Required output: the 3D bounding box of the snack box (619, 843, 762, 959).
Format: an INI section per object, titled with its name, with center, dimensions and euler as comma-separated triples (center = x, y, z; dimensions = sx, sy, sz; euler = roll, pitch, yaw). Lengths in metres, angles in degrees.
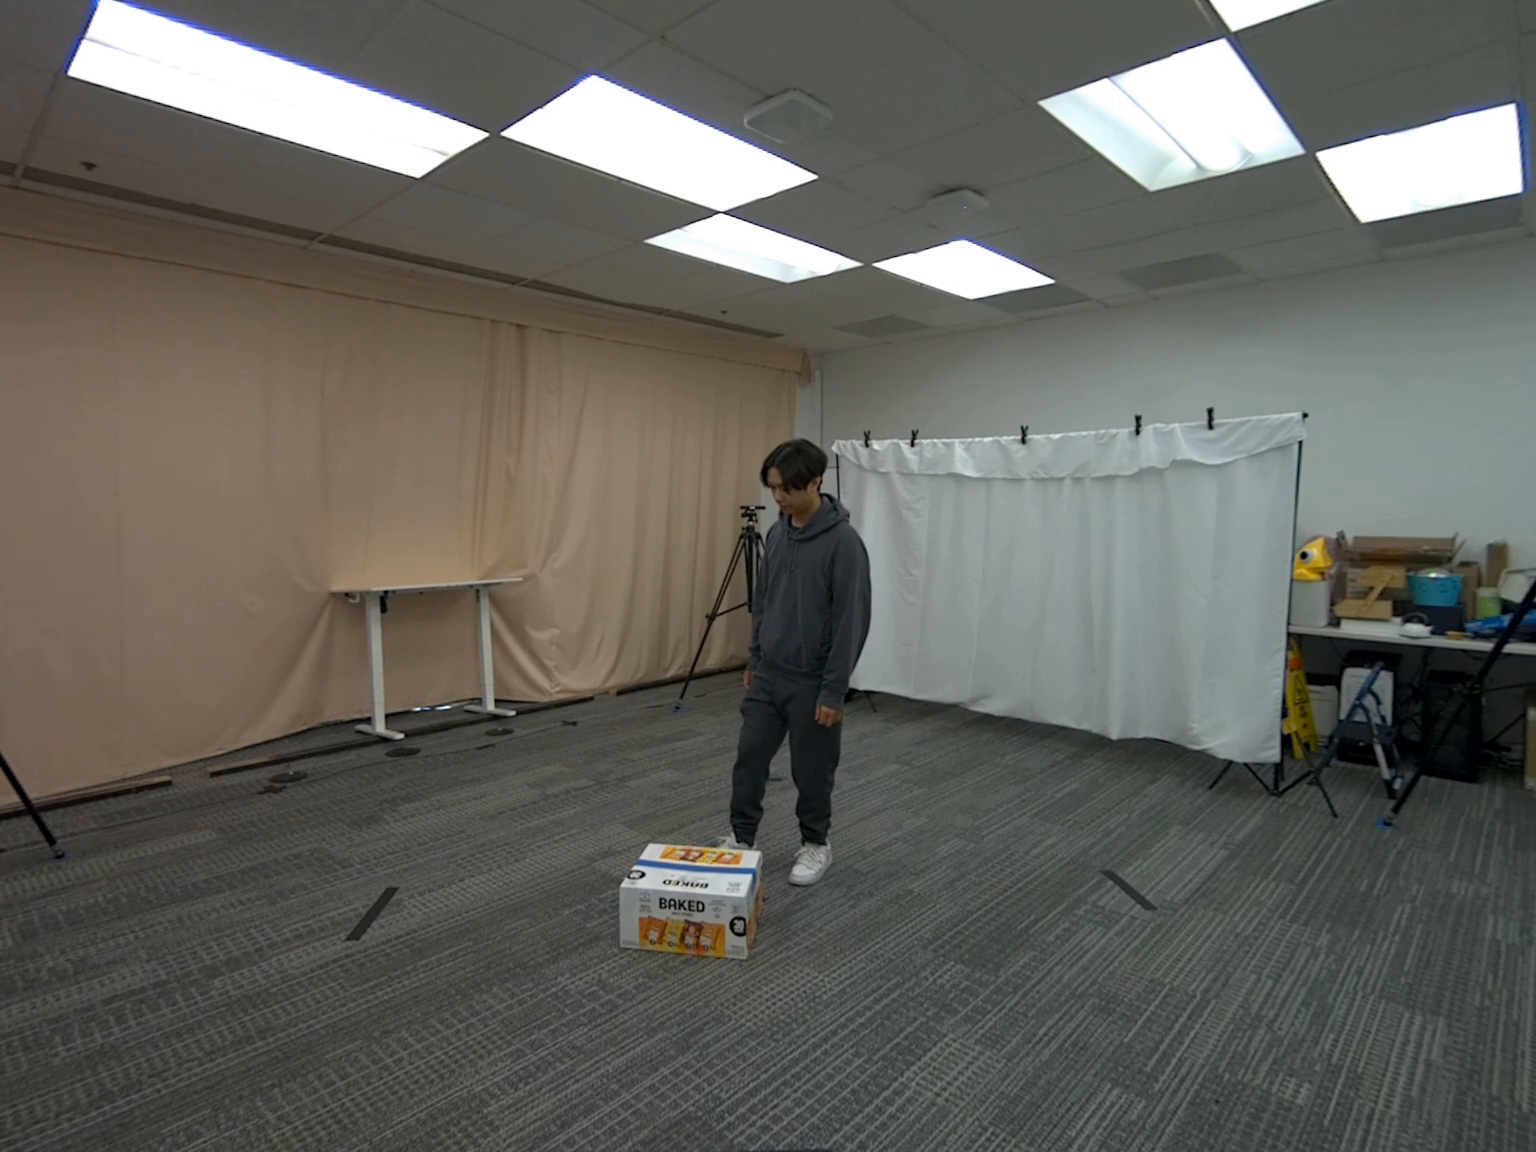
[snack box]
center = -0.241, 1.061, 2.769
dimensions = 0.410, 0.205, 0.337
euler = 0, 4, 9
